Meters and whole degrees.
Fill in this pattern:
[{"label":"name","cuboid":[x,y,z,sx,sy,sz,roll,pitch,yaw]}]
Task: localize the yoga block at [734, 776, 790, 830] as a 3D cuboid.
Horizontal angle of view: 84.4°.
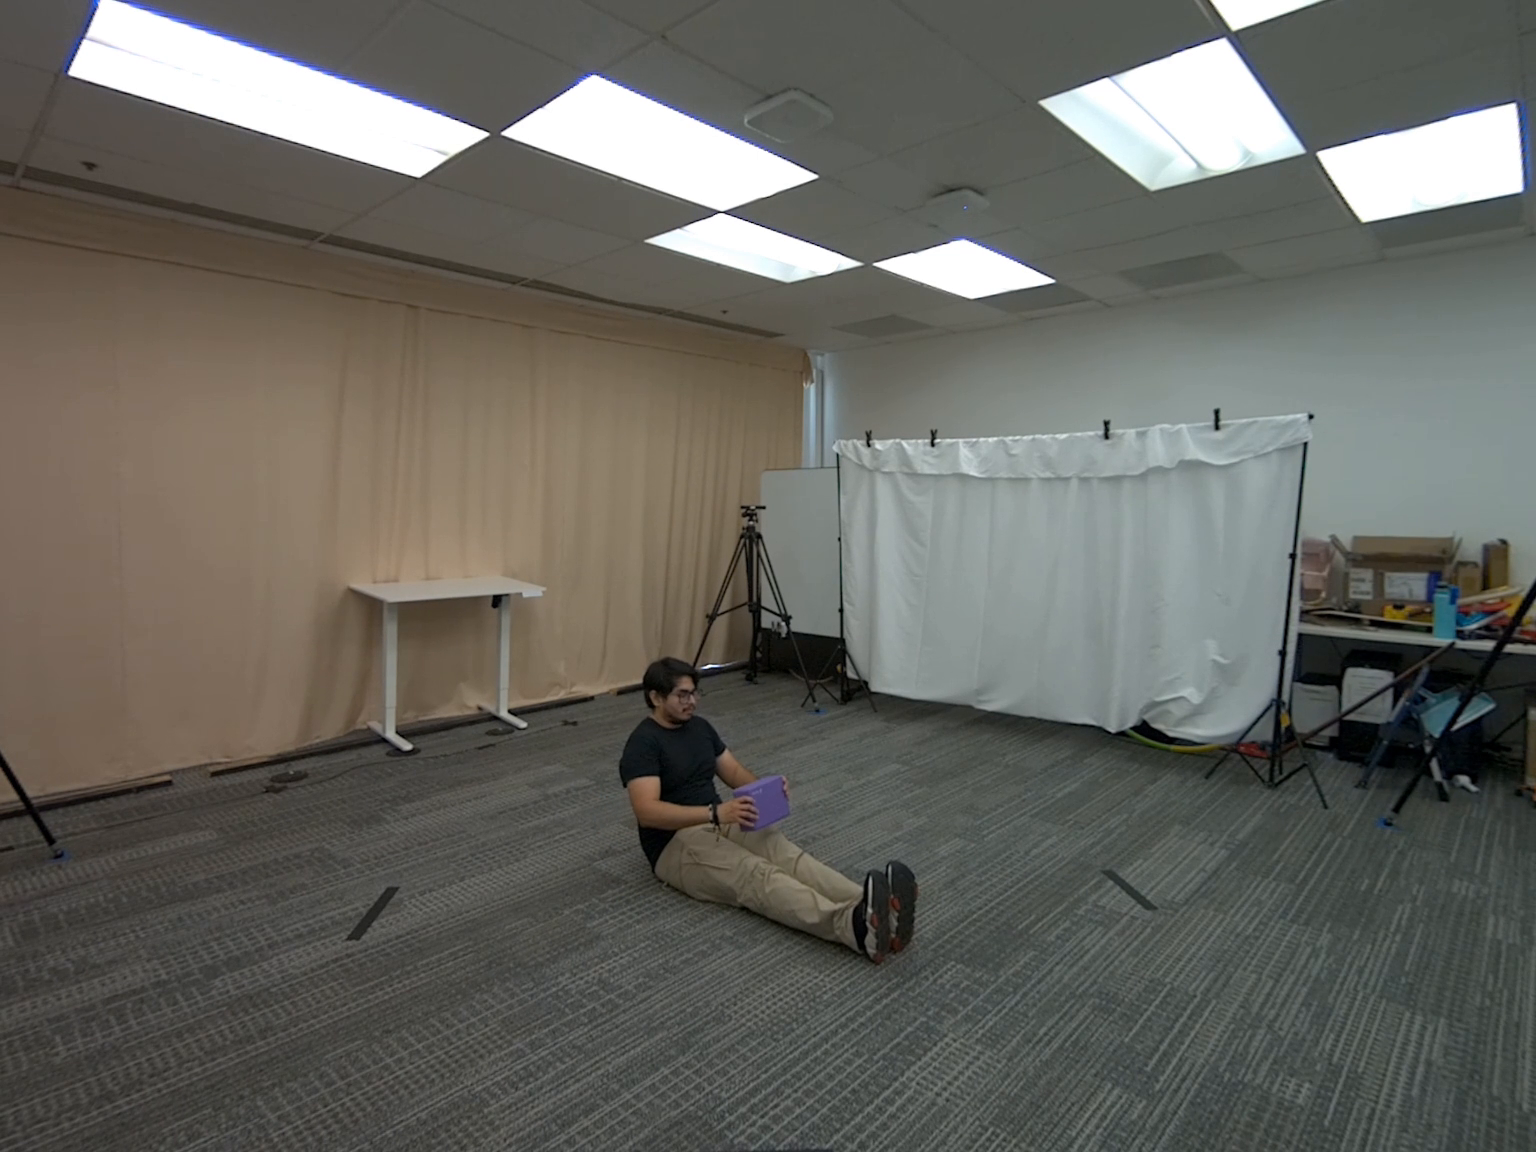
[{"label":"yoga block","cuboid":[-0.015,0.818,3.035,0.078,0.150,0.222,-17,-8,34]}]
